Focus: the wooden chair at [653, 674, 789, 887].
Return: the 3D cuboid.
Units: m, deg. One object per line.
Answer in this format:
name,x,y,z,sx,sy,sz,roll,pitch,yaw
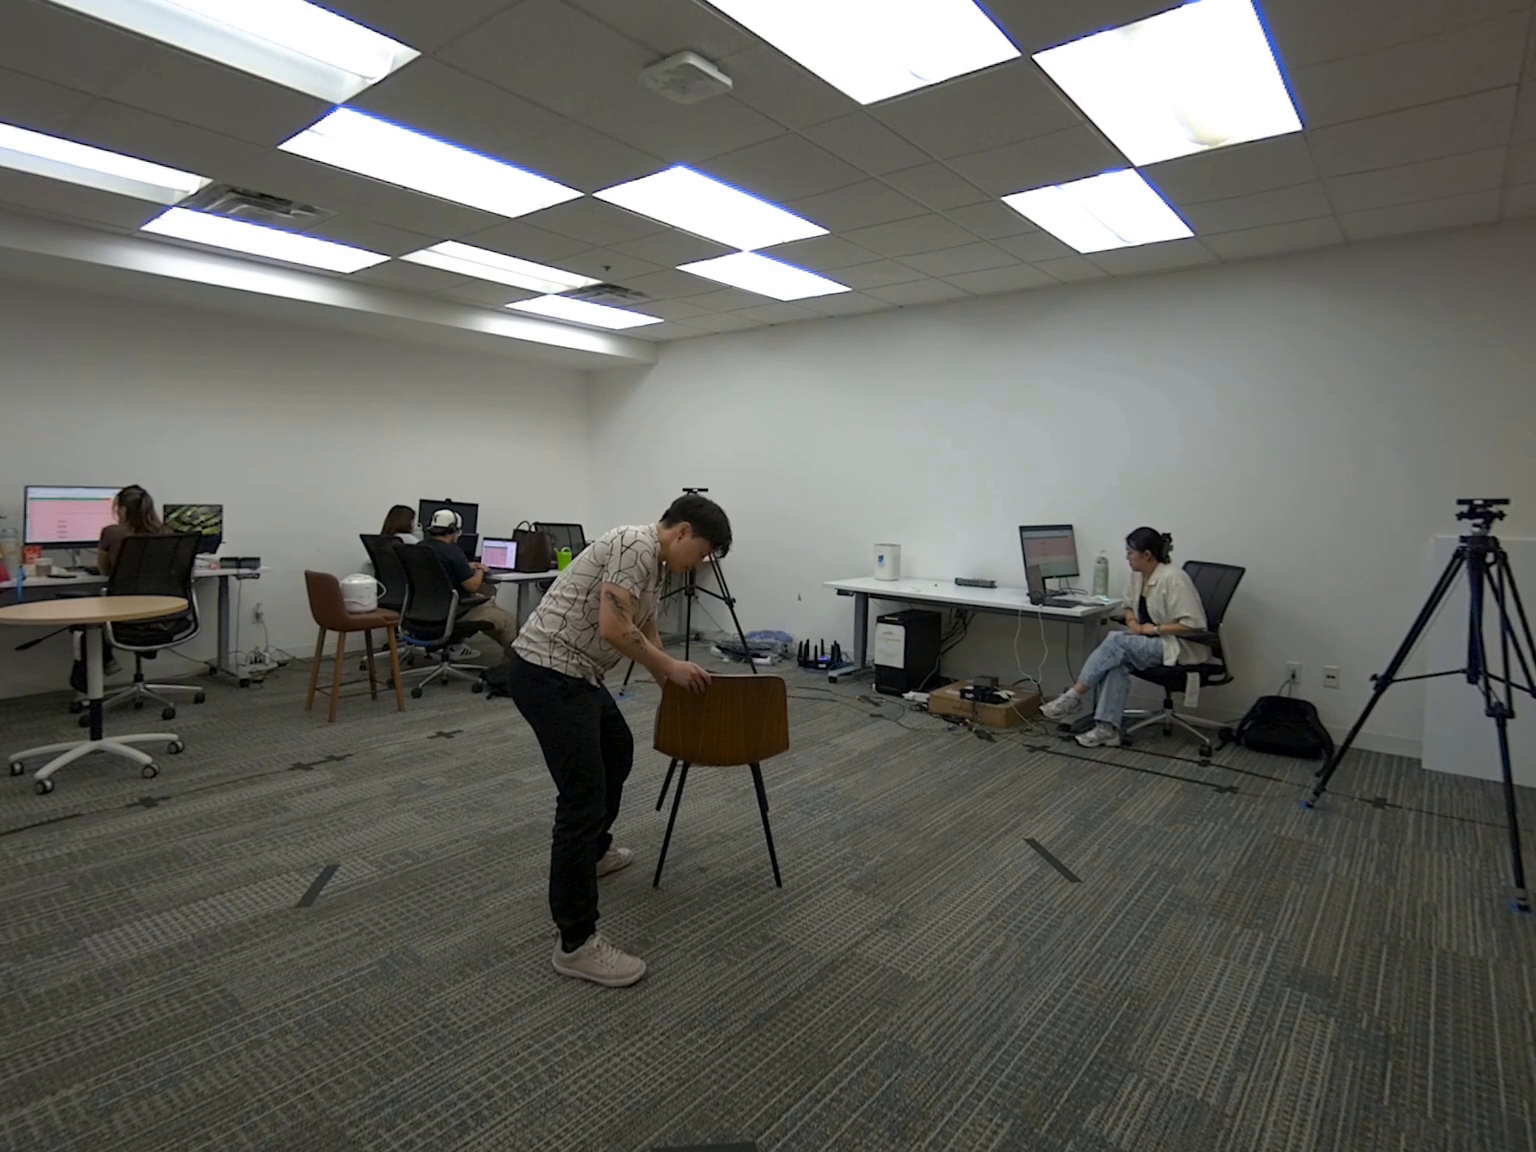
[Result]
wooden chair,-0.187,0.610,3.065,0.475,0.861,0.536,1,22,-7
